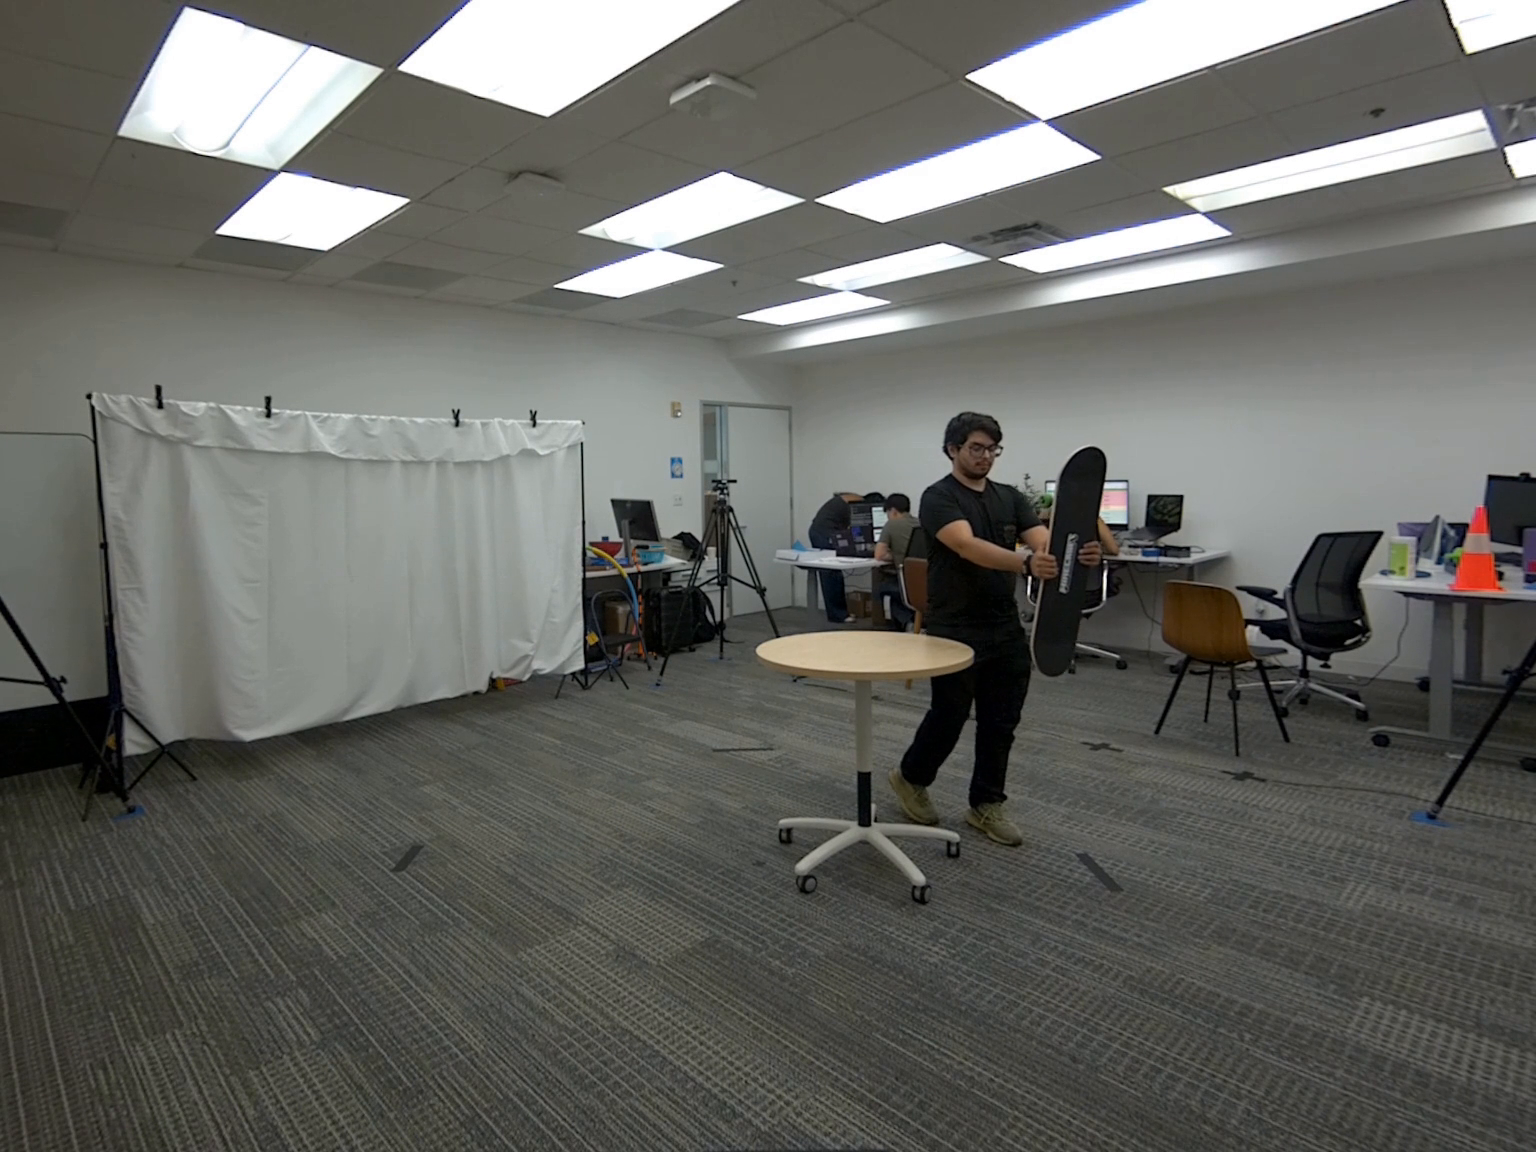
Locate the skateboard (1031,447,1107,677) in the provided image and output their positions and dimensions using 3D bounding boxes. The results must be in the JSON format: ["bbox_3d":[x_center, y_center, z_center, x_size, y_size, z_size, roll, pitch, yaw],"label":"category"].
[{"bbox_3d":[0.990,-0.052,2.874,0.189,0.778,0.114,1,13,-23],"label":"skateboard"}]
